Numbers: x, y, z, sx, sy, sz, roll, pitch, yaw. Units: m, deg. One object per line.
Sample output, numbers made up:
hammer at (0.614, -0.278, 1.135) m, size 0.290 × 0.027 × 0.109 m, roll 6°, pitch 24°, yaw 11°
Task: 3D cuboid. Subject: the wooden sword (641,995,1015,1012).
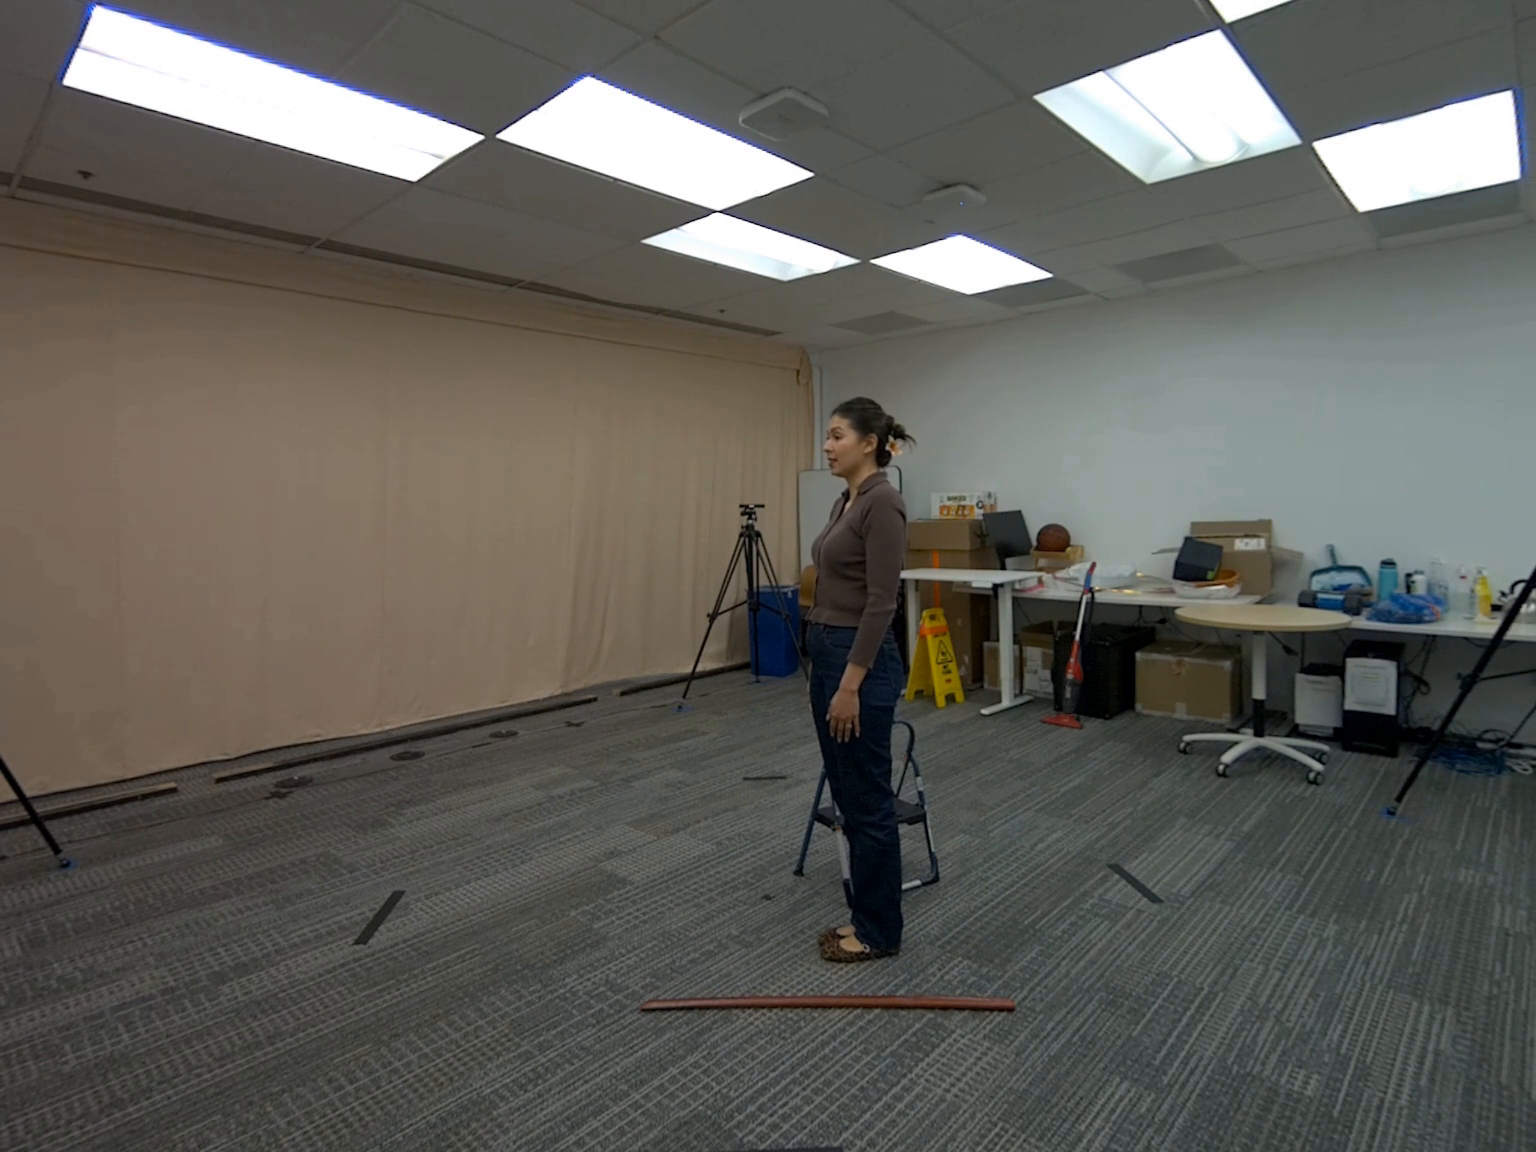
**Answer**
wooden sword at (0.161, 1.166, 2.340) m, size 1.027 × 0.024 × 0.050 m, roll 0°, pitch -25°, yaw 2°
